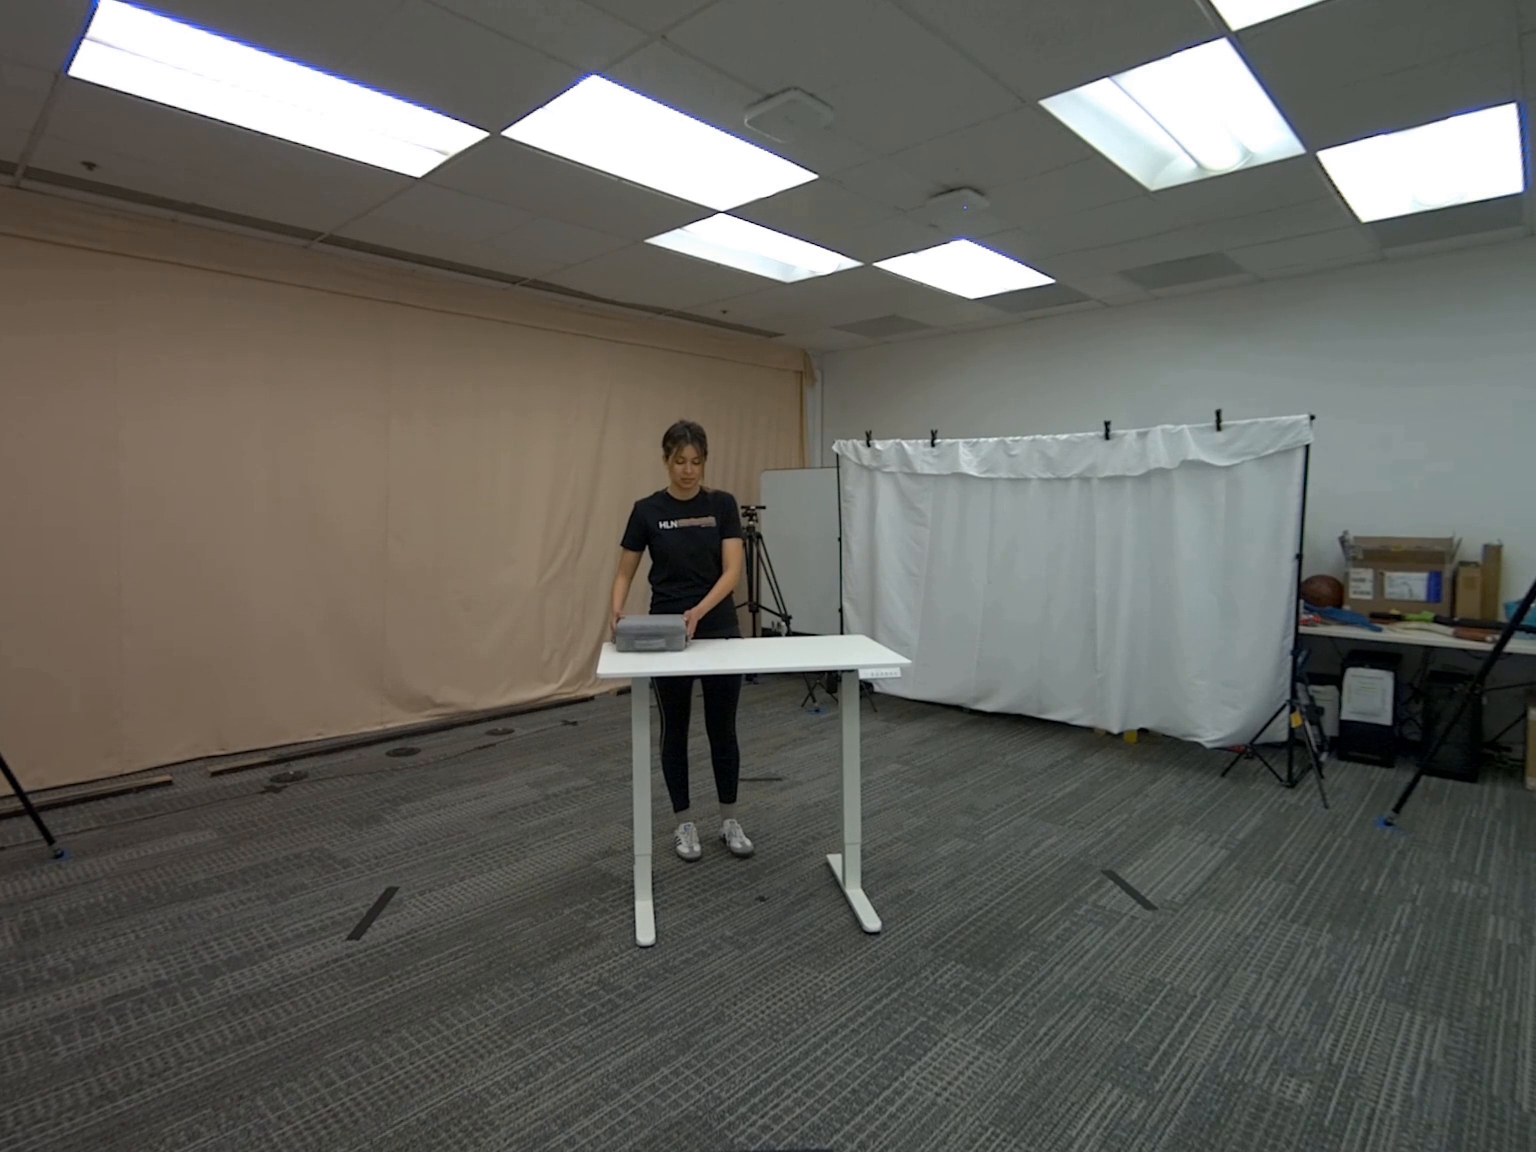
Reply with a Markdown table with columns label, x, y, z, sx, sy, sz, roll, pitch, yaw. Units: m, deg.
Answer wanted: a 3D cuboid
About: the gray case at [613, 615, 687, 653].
| label | x | y | z | sx | sy | sz | roll | pitch | yaw |
| --- | --- | --- | --- | --- | --- | --- | --- | --- | --- |
| gray case | -0.432 | 0.212 | 3.075 | 0.256 | 0.104 | 0.262 | -1 | 6 | -2 |
